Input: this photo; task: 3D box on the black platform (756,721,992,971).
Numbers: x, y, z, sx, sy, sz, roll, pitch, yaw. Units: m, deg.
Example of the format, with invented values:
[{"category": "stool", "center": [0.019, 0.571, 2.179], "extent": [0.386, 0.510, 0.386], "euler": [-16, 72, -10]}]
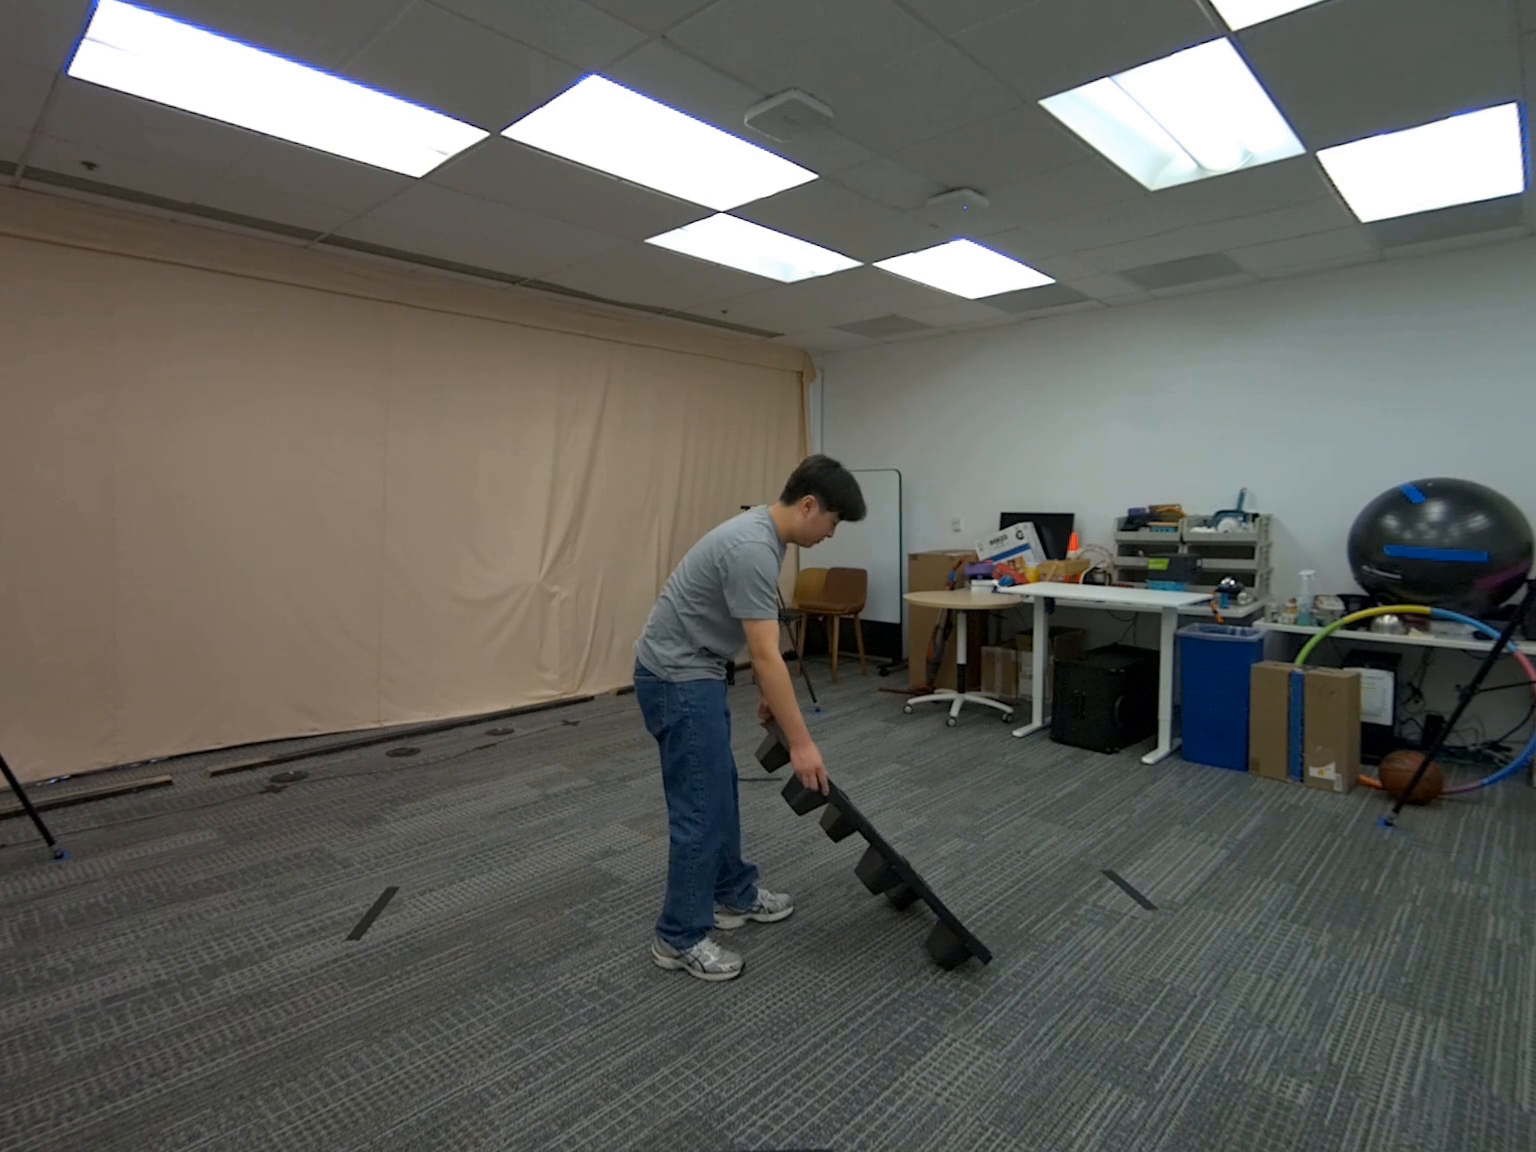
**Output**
[{"category": "black platform", "center": [0.294, 0.851, 2.678], "extent": [0.143, 0.797, 0.613], "euler": [-42, 10, -6]}]
